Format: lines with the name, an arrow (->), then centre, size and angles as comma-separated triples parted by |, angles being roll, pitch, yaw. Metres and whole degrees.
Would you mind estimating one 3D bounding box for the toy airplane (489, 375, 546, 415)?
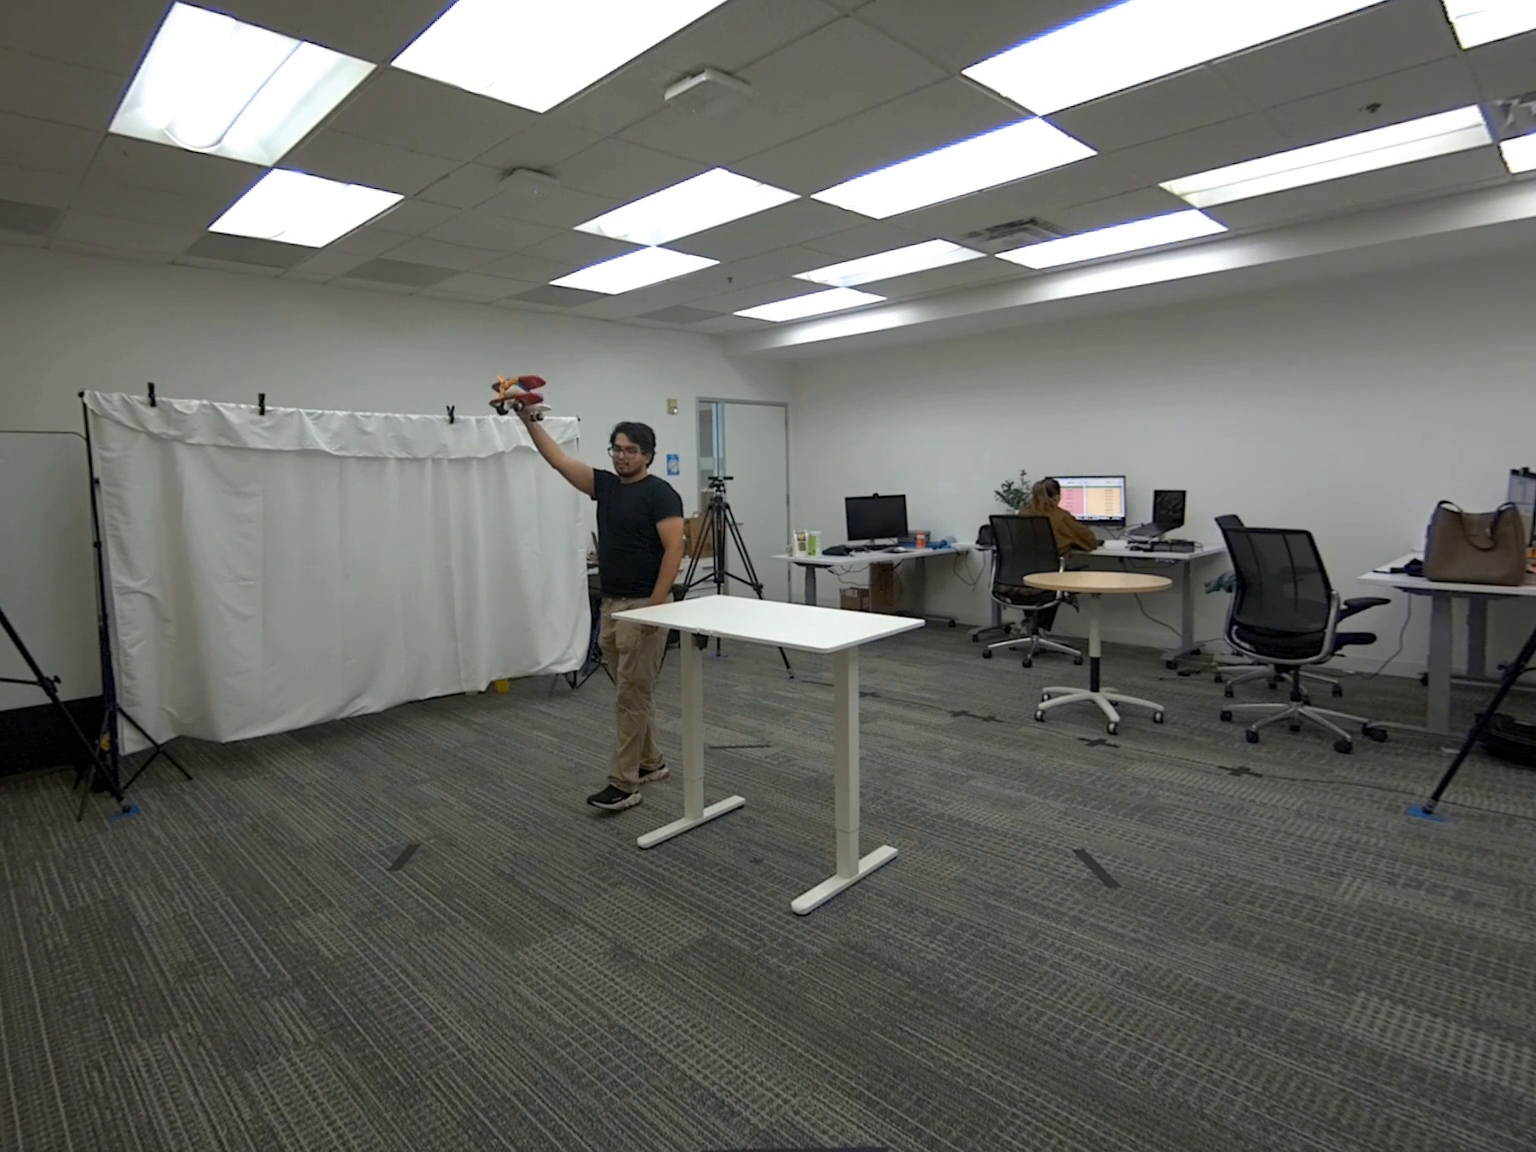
toy airplane -> -1.052, -0.747, 3.623 | 0.250, 0.157, 0.259 | -1, -2, -3
